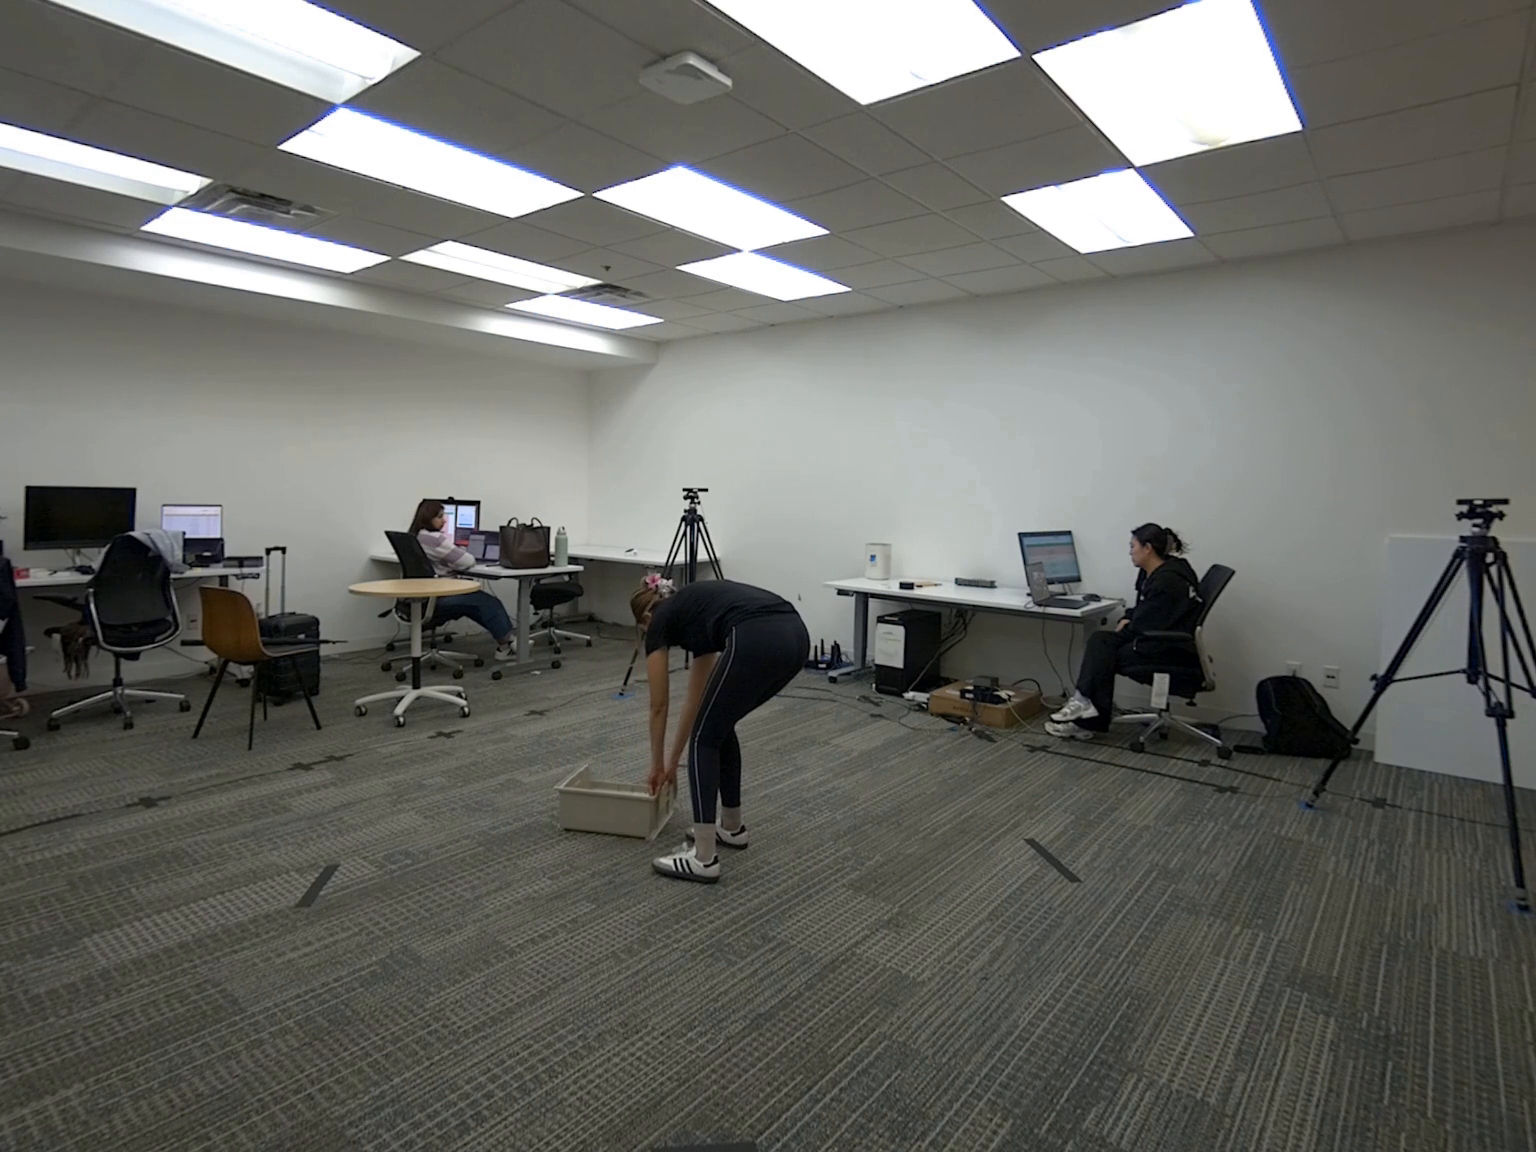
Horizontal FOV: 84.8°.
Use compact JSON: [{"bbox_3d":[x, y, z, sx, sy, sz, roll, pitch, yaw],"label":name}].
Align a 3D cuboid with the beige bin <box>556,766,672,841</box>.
[{"bbox_3d":[-0.639,0.930,3.564,0.428,0.188,0.374,2,6,11],"label":"beige bin"}]
